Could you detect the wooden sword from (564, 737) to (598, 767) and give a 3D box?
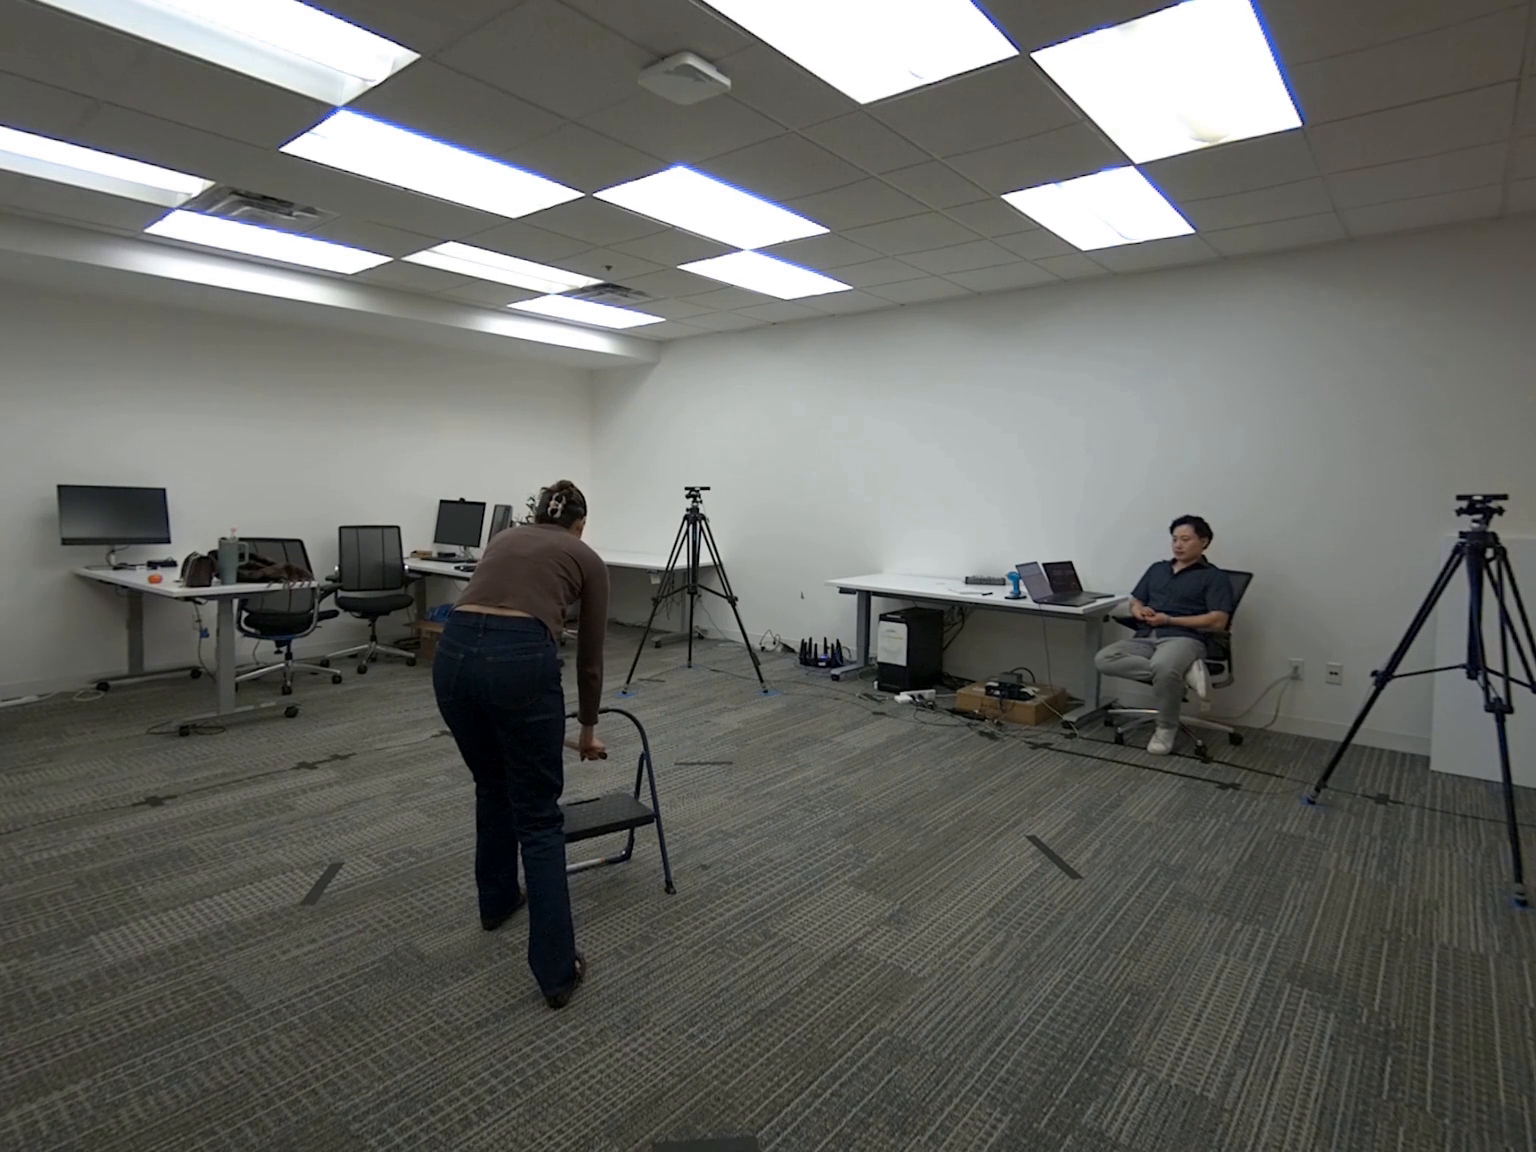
[{"bbox_3d":[-0.811,0.610,3.151,0.024,0.051,1.046,-27,9,-27],"label":"wooden sword"}]
